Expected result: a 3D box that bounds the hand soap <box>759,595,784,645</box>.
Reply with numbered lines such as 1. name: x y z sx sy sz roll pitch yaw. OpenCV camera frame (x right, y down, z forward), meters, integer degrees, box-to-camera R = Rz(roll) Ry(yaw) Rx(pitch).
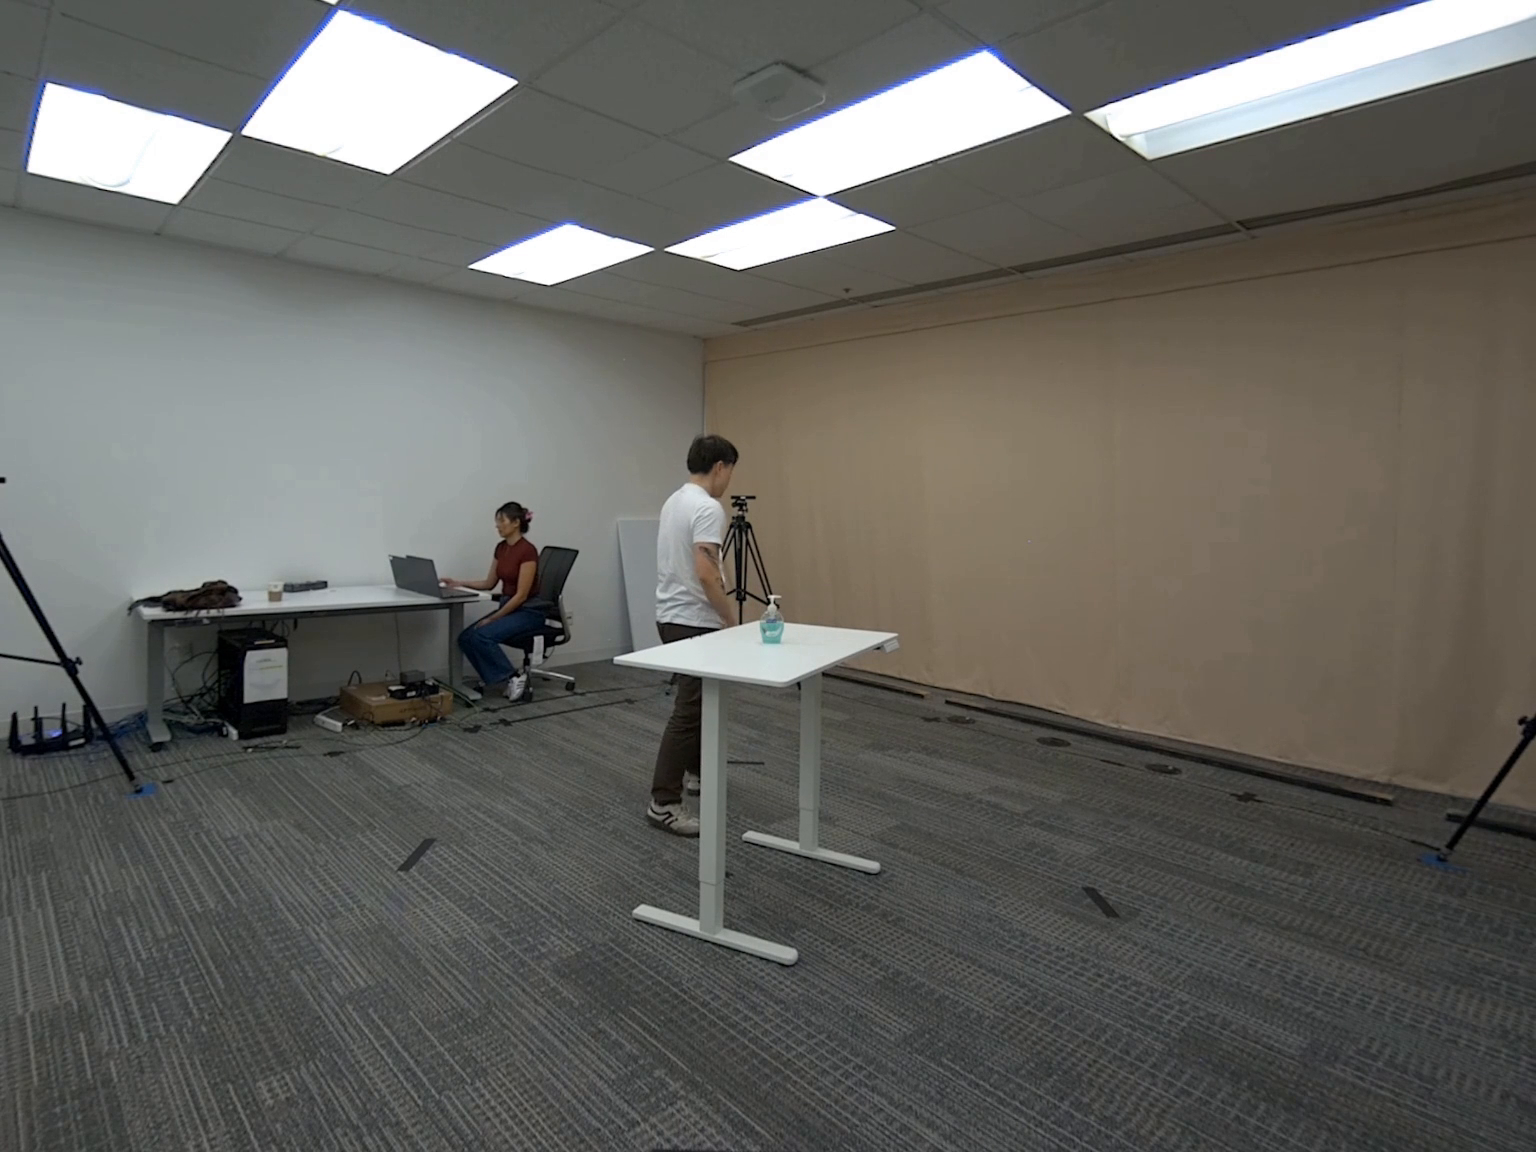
1. hand soap: 0.016 0.156 2.959 0.084 0.167 0.044 5 6 -3
